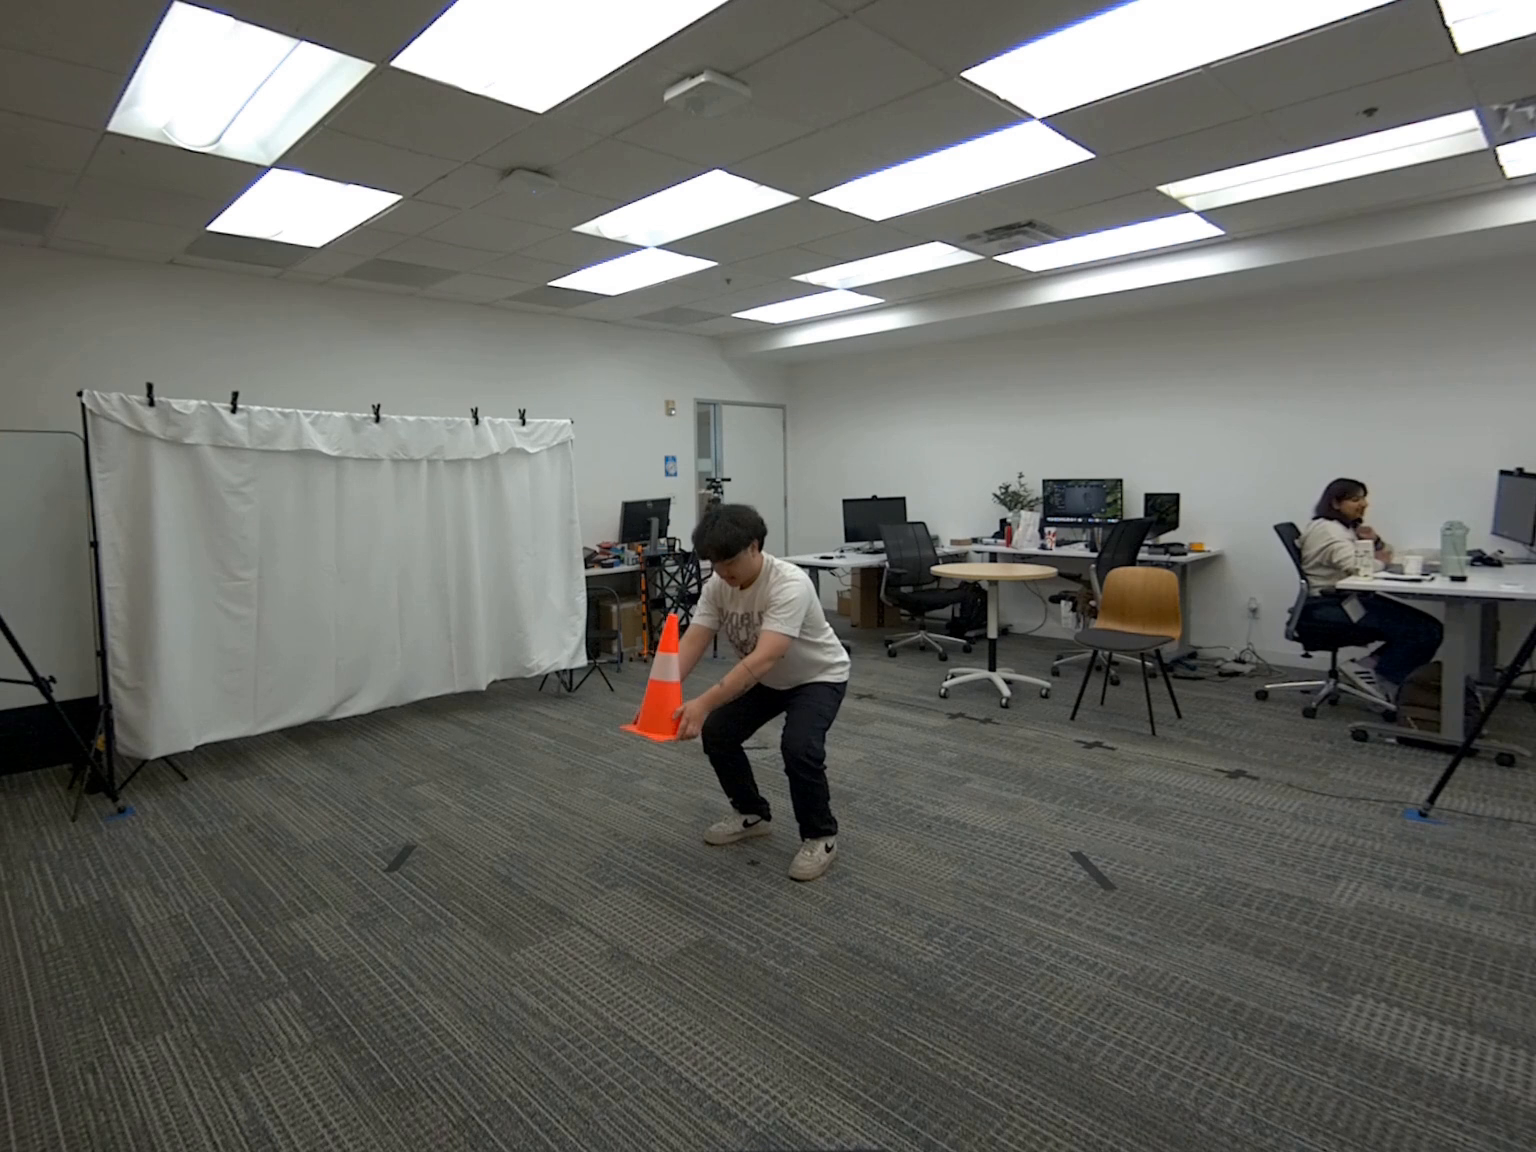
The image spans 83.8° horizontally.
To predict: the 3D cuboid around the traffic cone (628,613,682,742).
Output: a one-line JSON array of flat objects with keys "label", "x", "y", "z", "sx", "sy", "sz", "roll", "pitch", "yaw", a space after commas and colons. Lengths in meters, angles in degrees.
[{"label": "traffic cone", "x": -0.328, "y": 0.321, "z": 2.782, "sx": 0.211, "sy": 0.384, "sz": 0.197, "roll": 5, "pitch": -1, "yaw": 34}]
